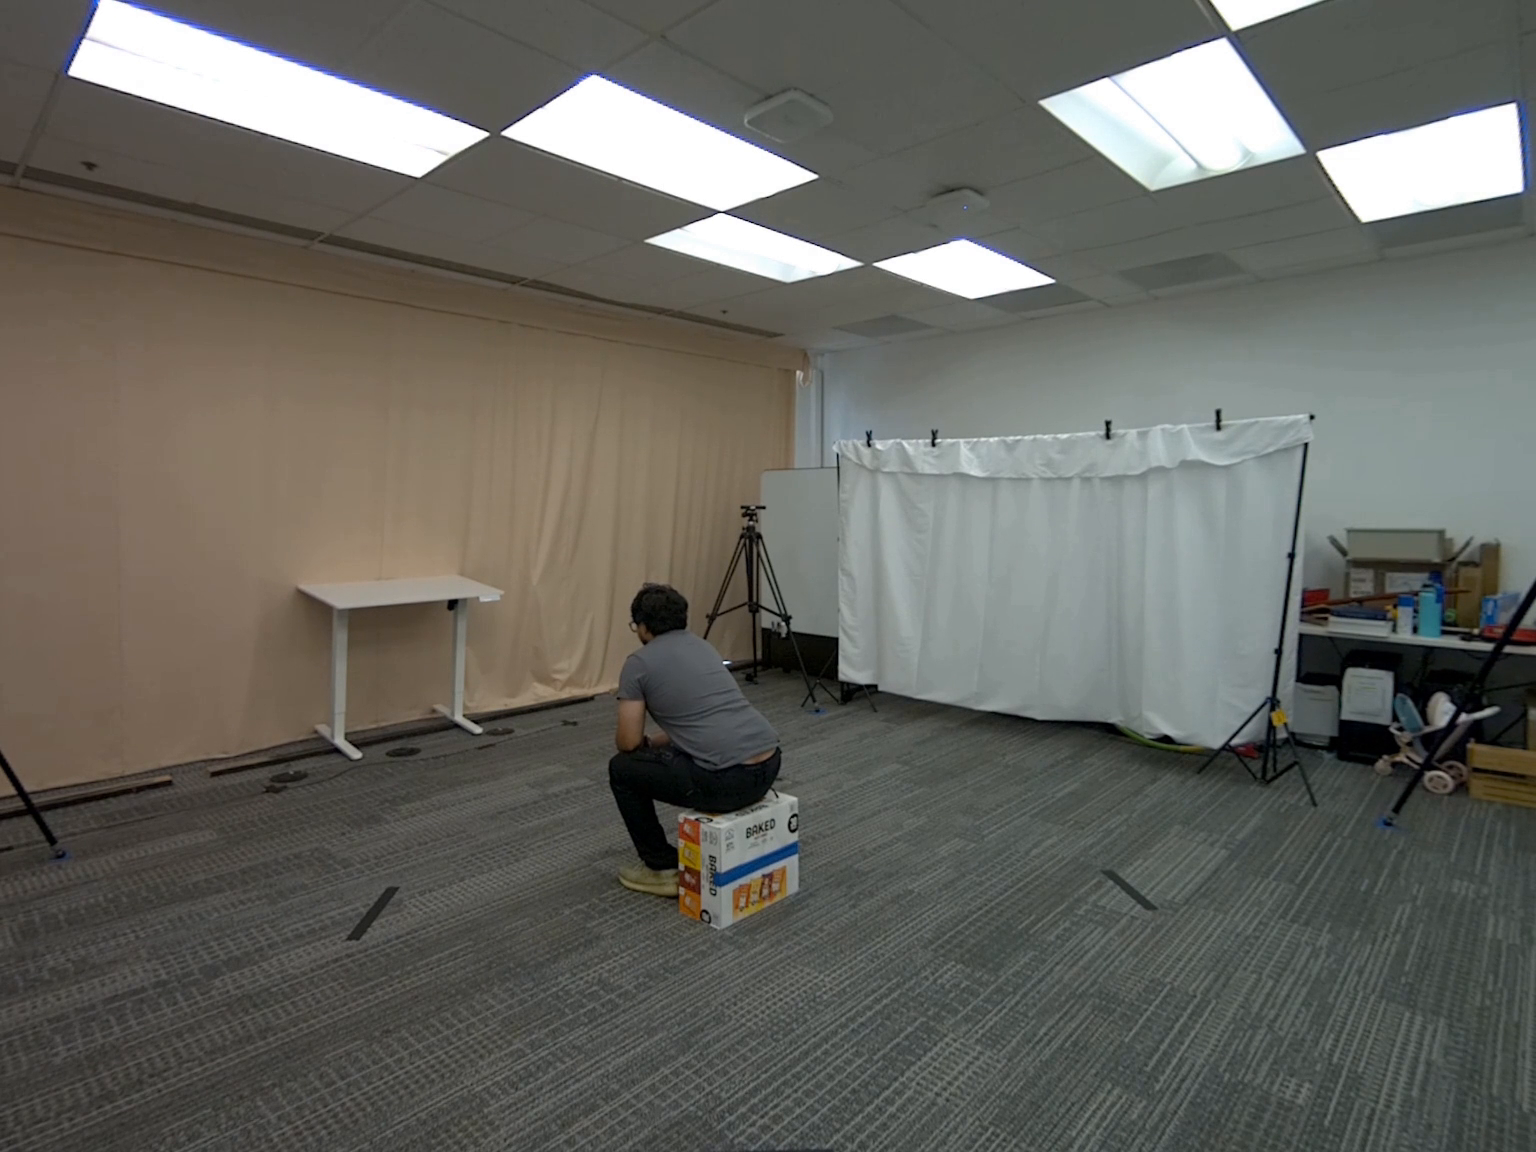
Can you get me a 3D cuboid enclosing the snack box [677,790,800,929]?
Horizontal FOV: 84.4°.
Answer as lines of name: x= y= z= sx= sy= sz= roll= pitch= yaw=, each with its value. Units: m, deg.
snack box: x=-0.093 y=0.979 z=2.964 sx=0.212 sy=0.340 sz=0.393 roll=2 pitch=4 yaw=43
